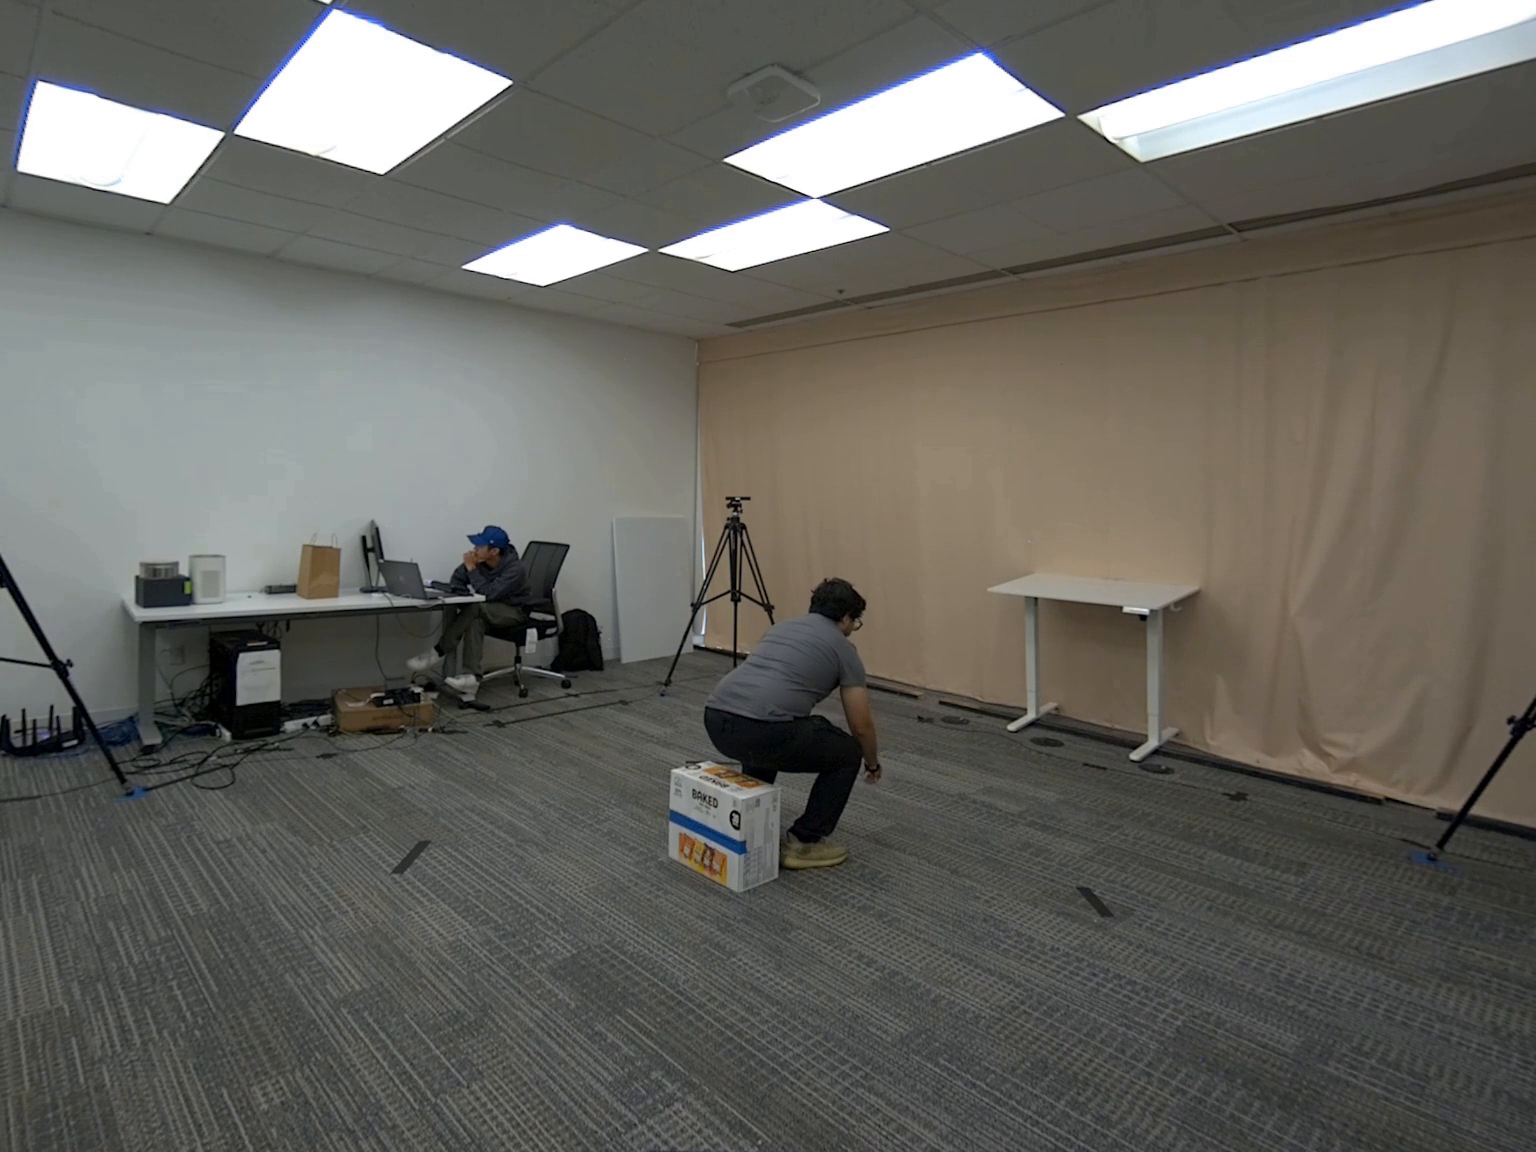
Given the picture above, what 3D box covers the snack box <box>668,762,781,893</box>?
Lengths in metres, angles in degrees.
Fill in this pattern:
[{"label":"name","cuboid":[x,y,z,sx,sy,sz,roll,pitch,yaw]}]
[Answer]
[{"label":"snack box","cuboid":[-0.174,0.930,3.166,0.201,0.339,0.415,-2,5,-45]}]
